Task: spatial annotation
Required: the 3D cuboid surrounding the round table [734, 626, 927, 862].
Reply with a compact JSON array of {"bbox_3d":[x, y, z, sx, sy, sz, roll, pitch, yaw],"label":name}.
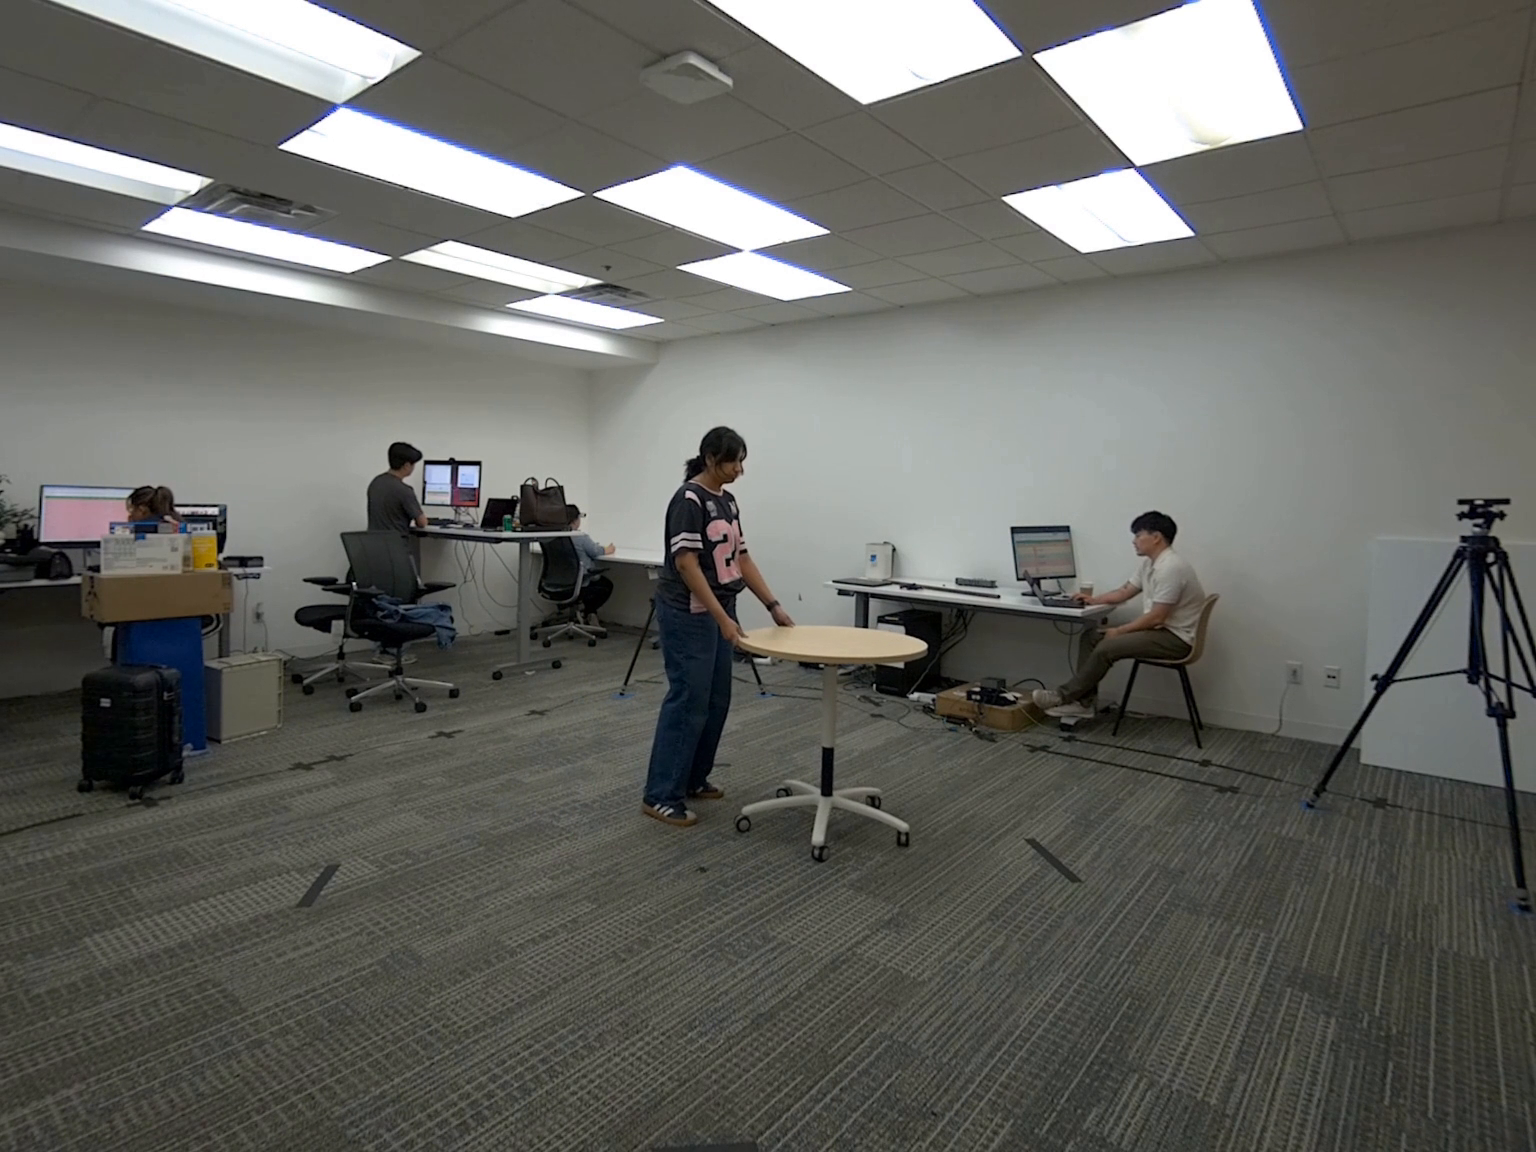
[{"bbox_3d":[0.238,0.653,3.495,0.763,0.792,0.767,1,4,-2],"label":"round table"}]
